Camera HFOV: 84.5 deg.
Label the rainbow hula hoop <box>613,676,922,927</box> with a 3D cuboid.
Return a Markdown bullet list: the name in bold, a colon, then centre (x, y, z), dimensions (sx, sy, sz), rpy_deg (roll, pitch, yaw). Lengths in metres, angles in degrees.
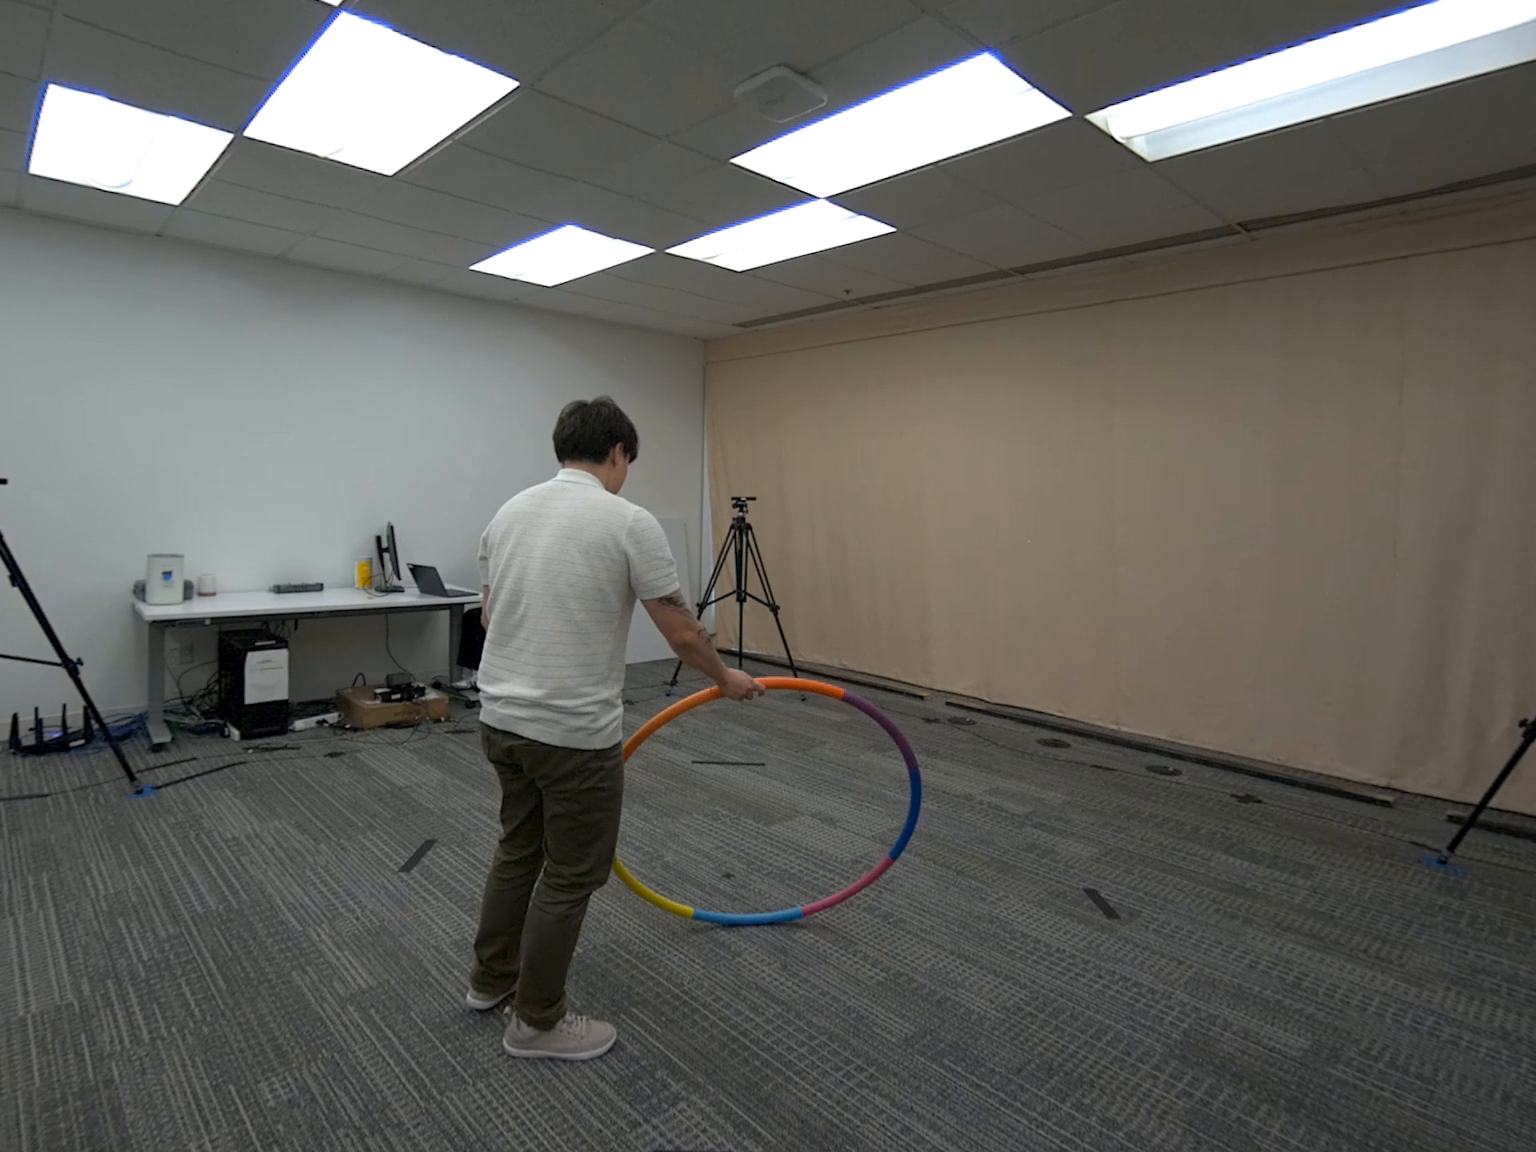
- **rainbow hula hoop**: centre (-0.024, 0.705, 2.538), dimensions (0.972, 0.963, 0.036), rpy_deg (1, 28, -9)
